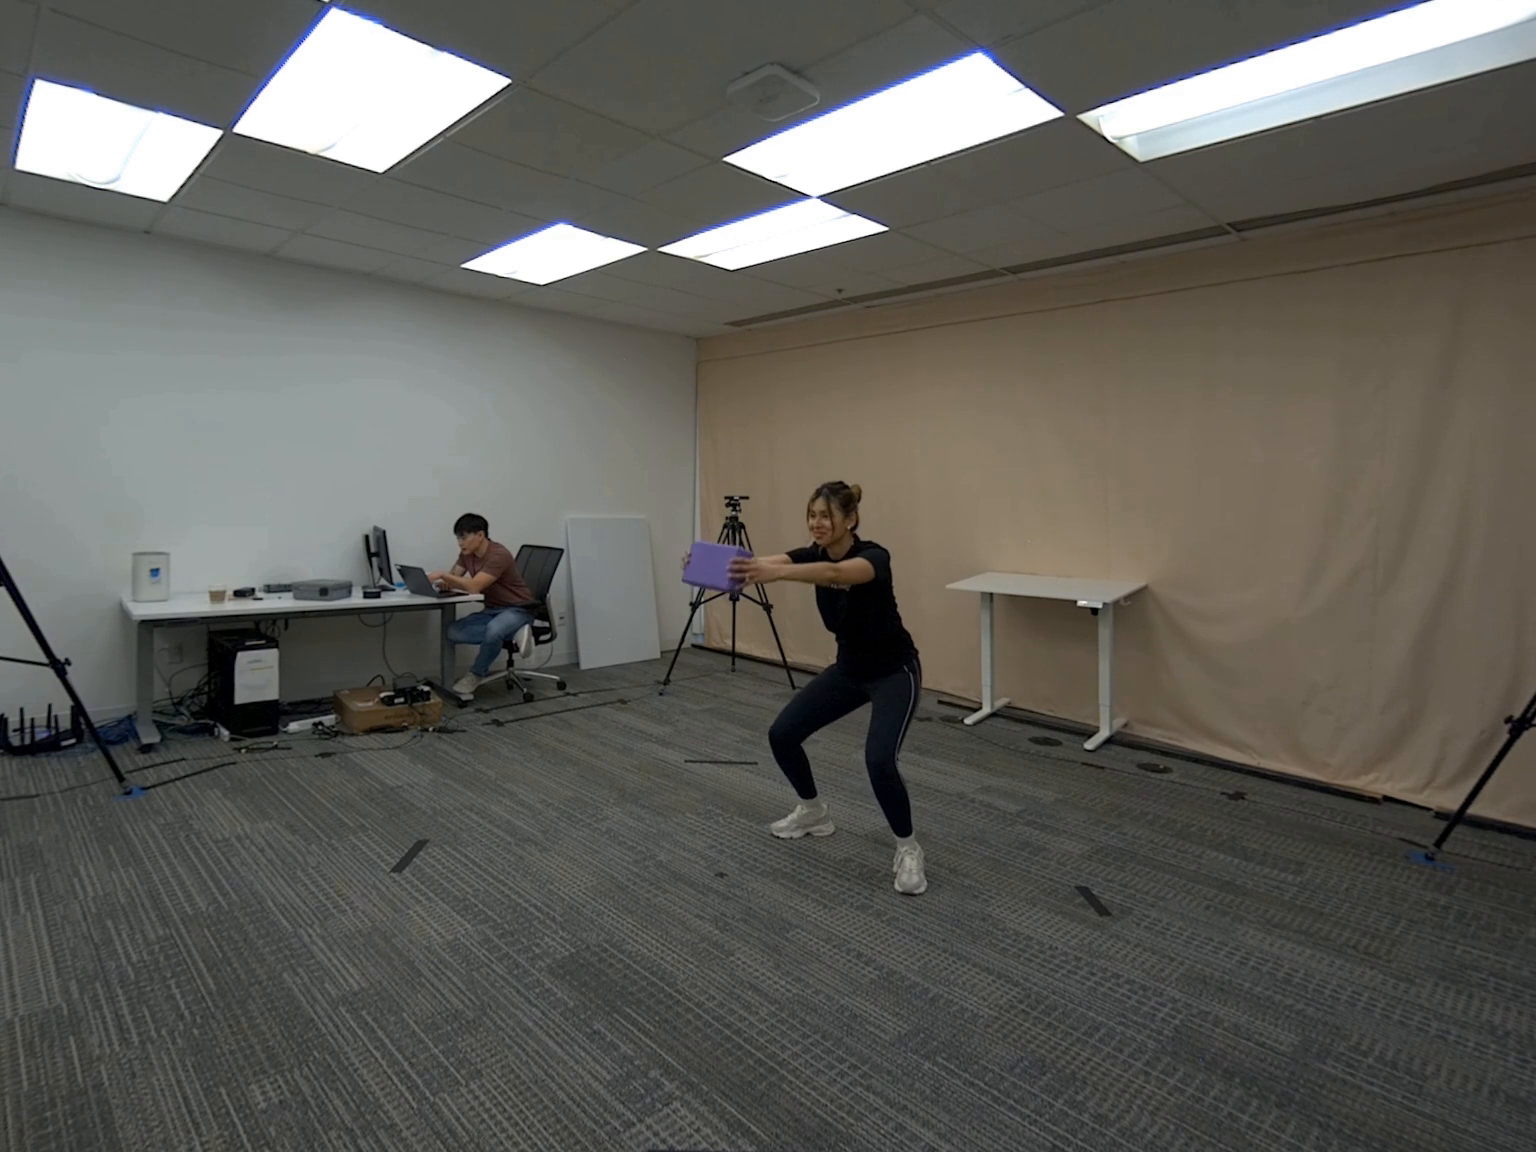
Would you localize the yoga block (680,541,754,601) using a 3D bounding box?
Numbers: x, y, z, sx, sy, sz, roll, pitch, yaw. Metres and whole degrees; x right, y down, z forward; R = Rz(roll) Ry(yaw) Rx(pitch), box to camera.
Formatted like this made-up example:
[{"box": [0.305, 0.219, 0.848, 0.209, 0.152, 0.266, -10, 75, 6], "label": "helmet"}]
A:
[{"box": [-0.171, -0.021, 2.771, 0.074, 0.149, 0.235, 21, -7, -41], "label": "yoga block"}]
